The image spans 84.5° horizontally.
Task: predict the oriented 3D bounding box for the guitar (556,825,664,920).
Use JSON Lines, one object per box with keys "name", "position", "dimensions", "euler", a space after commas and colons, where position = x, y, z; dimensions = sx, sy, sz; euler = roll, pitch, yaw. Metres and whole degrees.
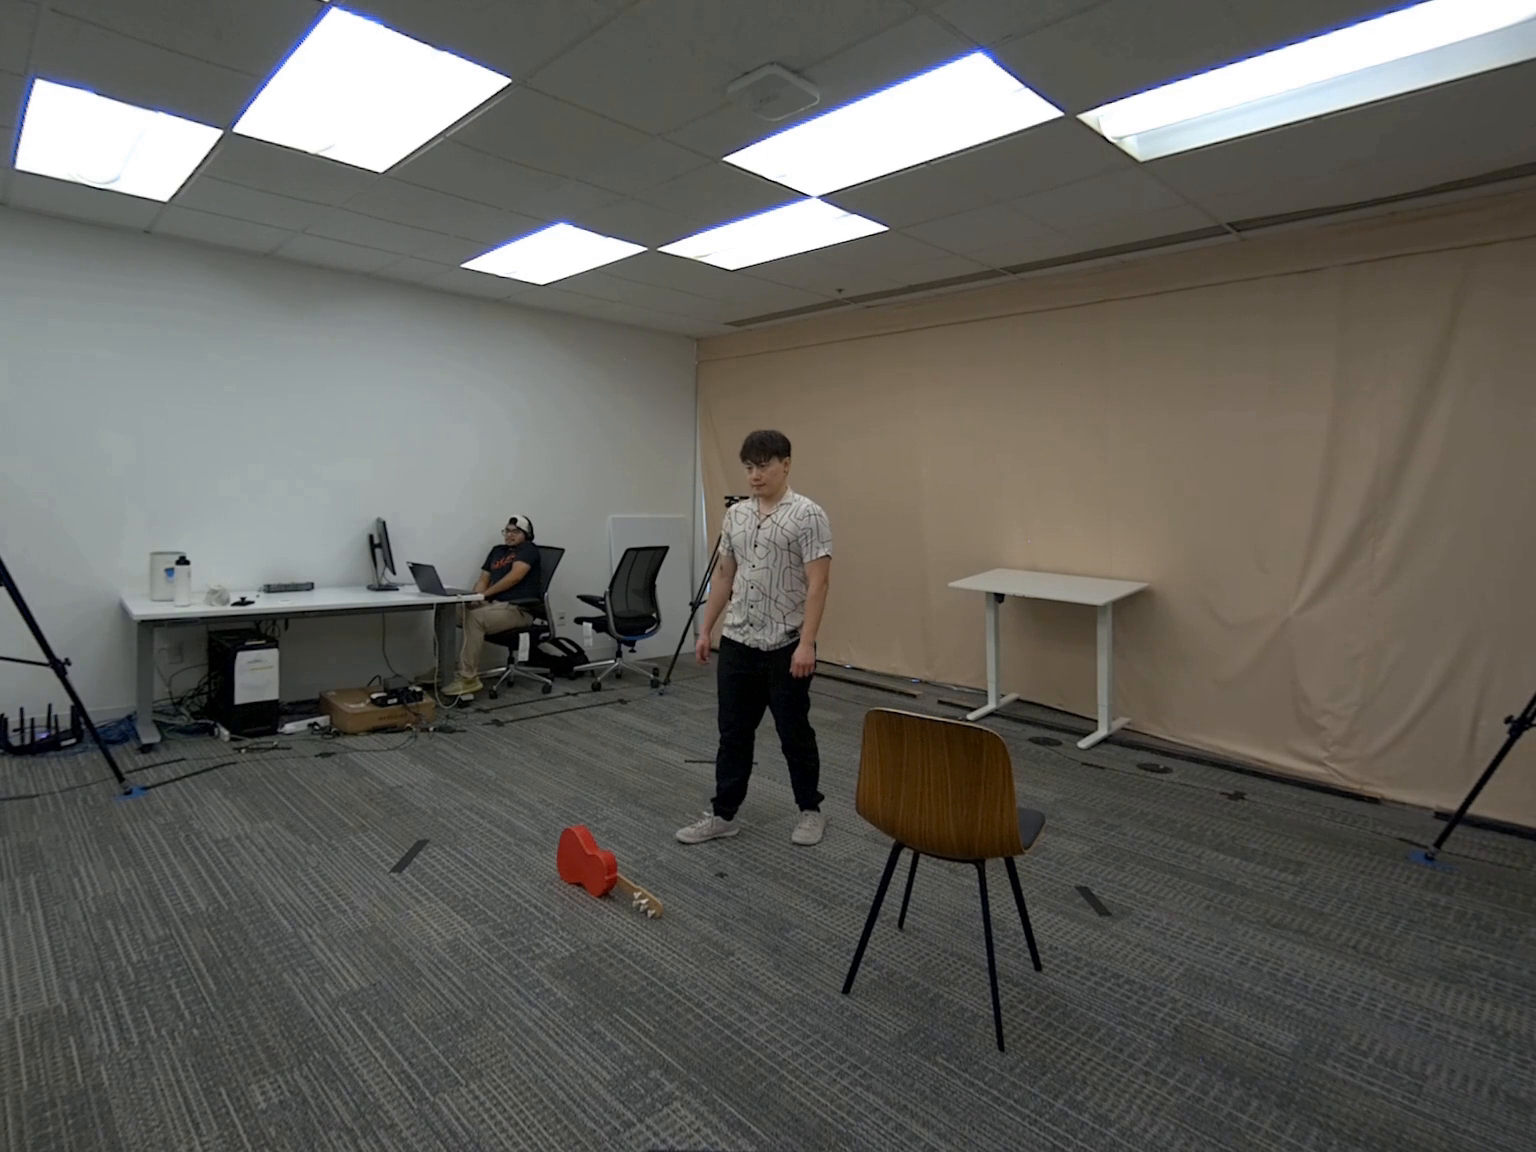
{"name": "guitar", "position": [-0.557, 1.022, 2.911], "dimensions": [0.510, 0.193, 0.069], "euler": [6, 1, 40]}
